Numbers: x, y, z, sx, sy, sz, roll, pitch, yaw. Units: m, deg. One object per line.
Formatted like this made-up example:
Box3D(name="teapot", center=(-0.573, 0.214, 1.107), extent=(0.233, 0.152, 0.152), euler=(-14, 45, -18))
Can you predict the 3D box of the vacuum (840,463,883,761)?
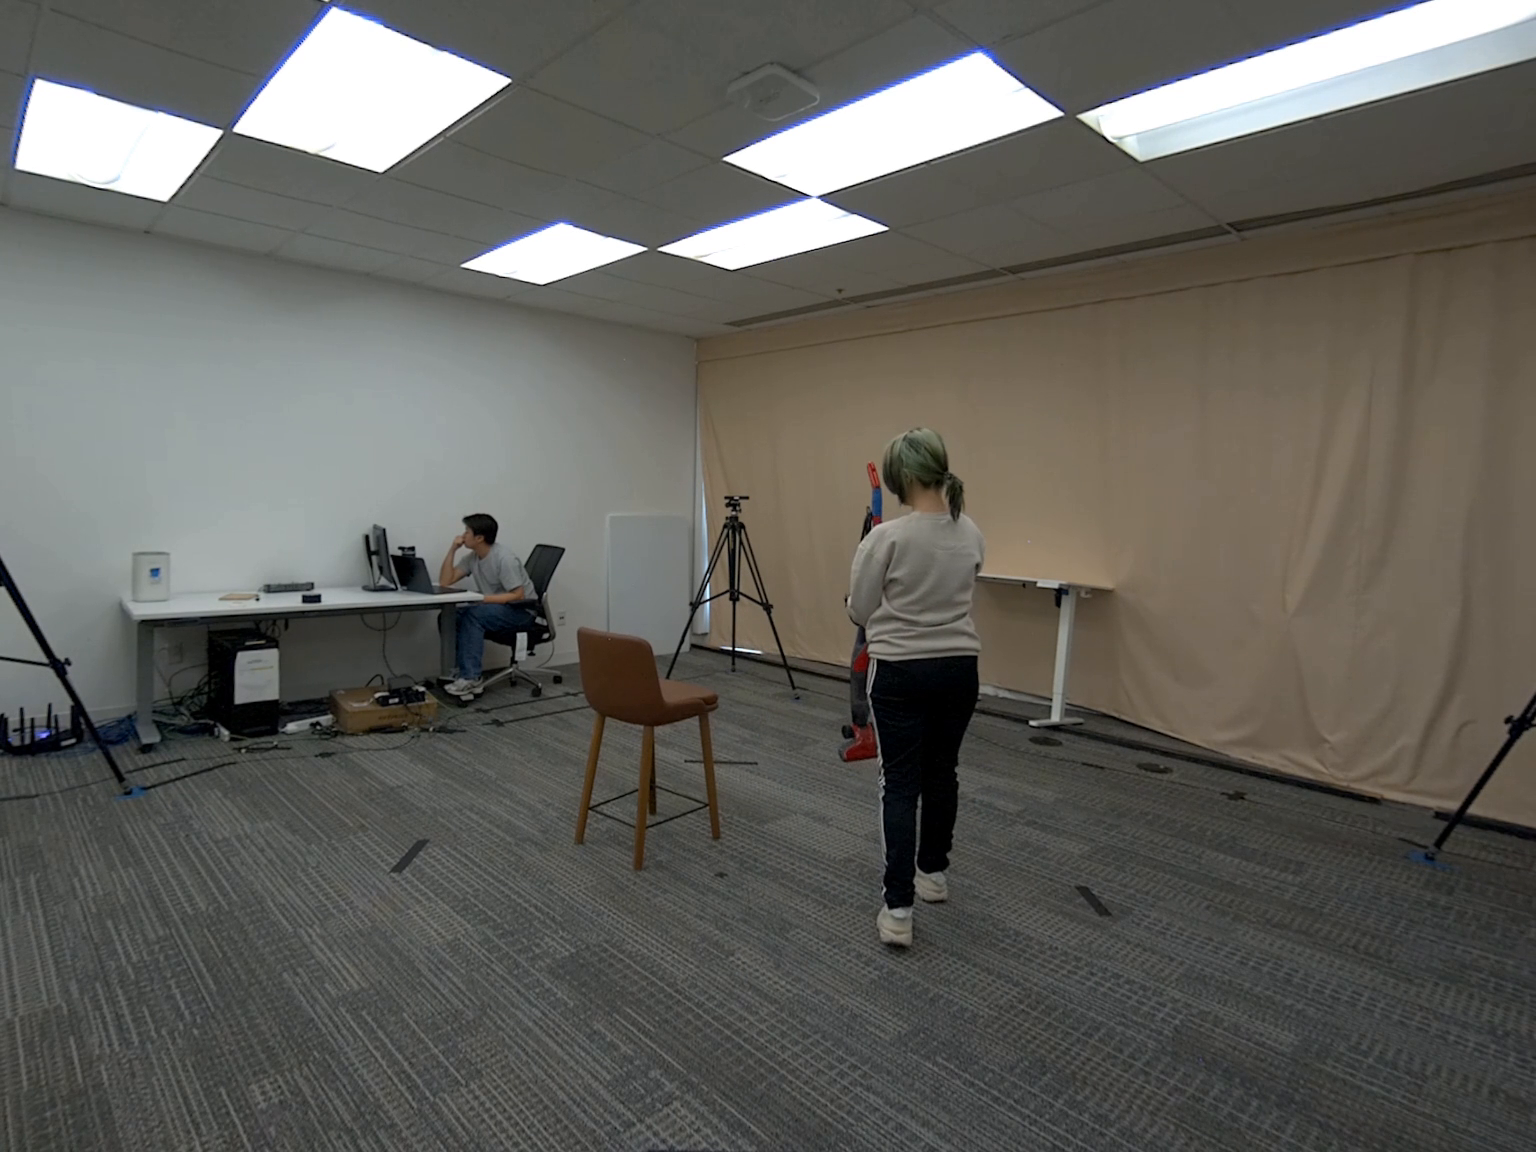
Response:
Box3D(name="vacuum", center=(0.372, 0.109, 3.169), extent=(0.249, 1.048, 0.146), euler=(0, 2, -18))
